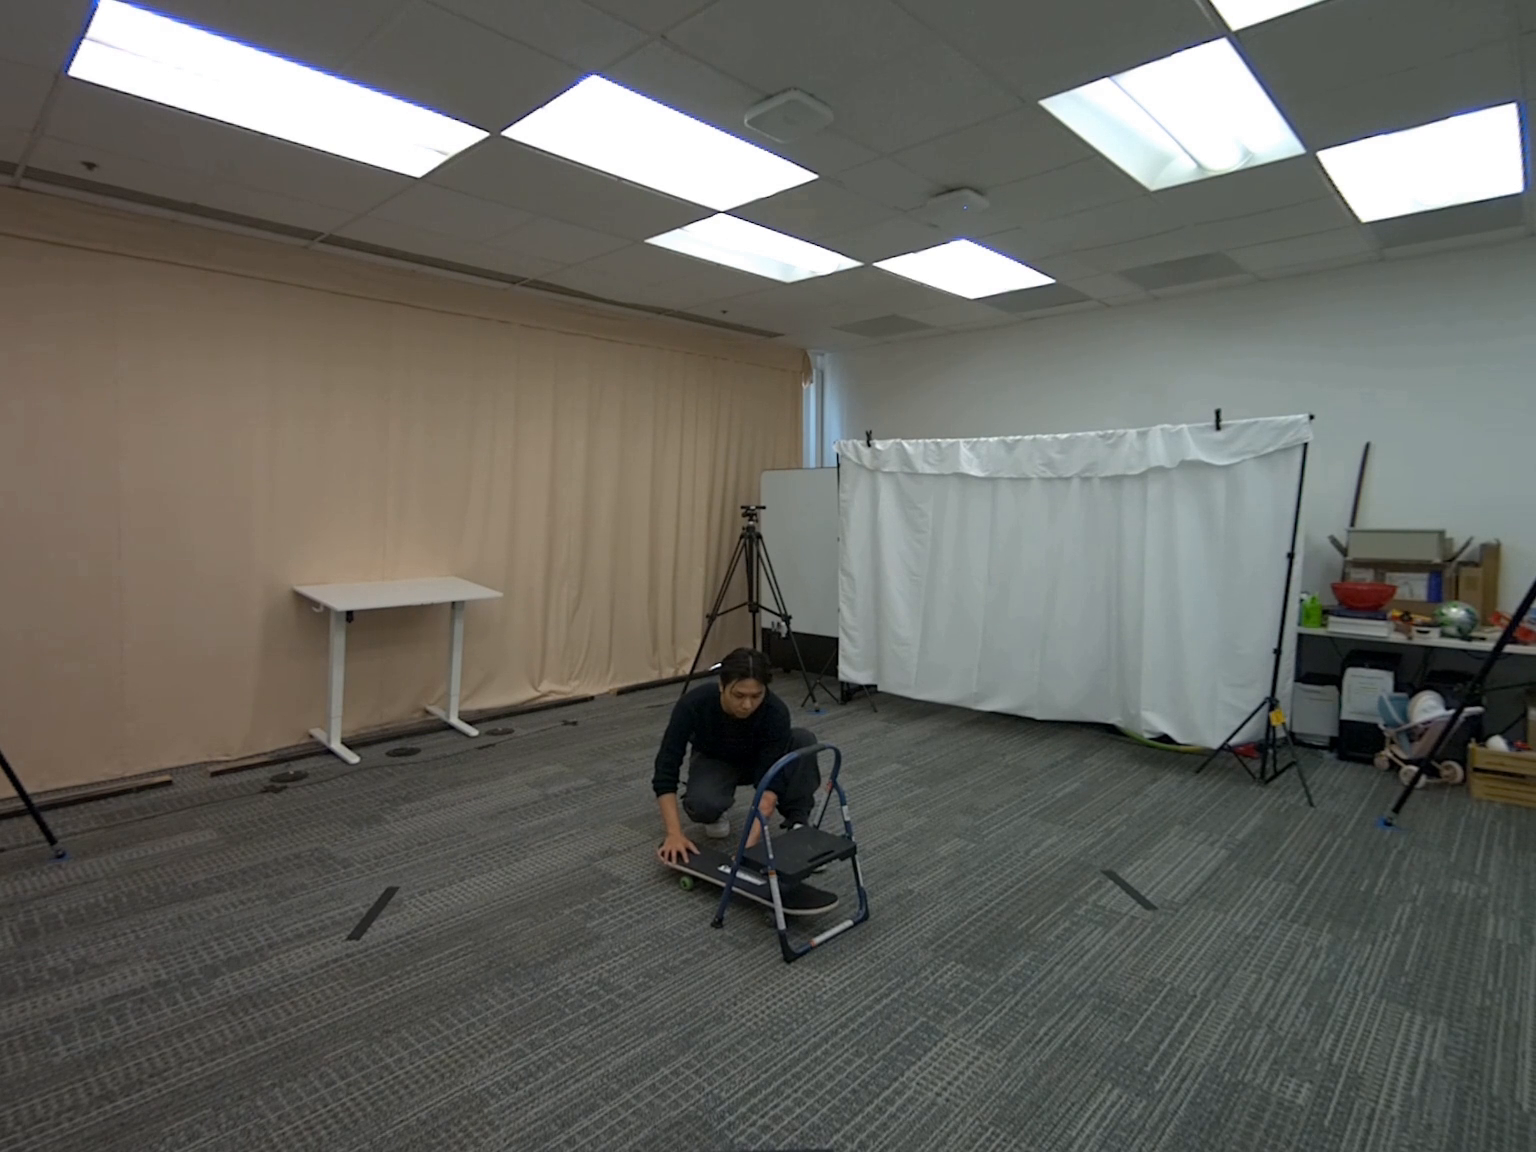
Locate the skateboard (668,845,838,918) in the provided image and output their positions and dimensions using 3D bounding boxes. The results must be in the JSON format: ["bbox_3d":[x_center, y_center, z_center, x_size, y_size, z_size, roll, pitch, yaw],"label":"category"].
[{"bbox_3d":[-0.075,1.079,2.973,0.811,0.110,0.188,3,6,39],"label":"skateboard"}]
